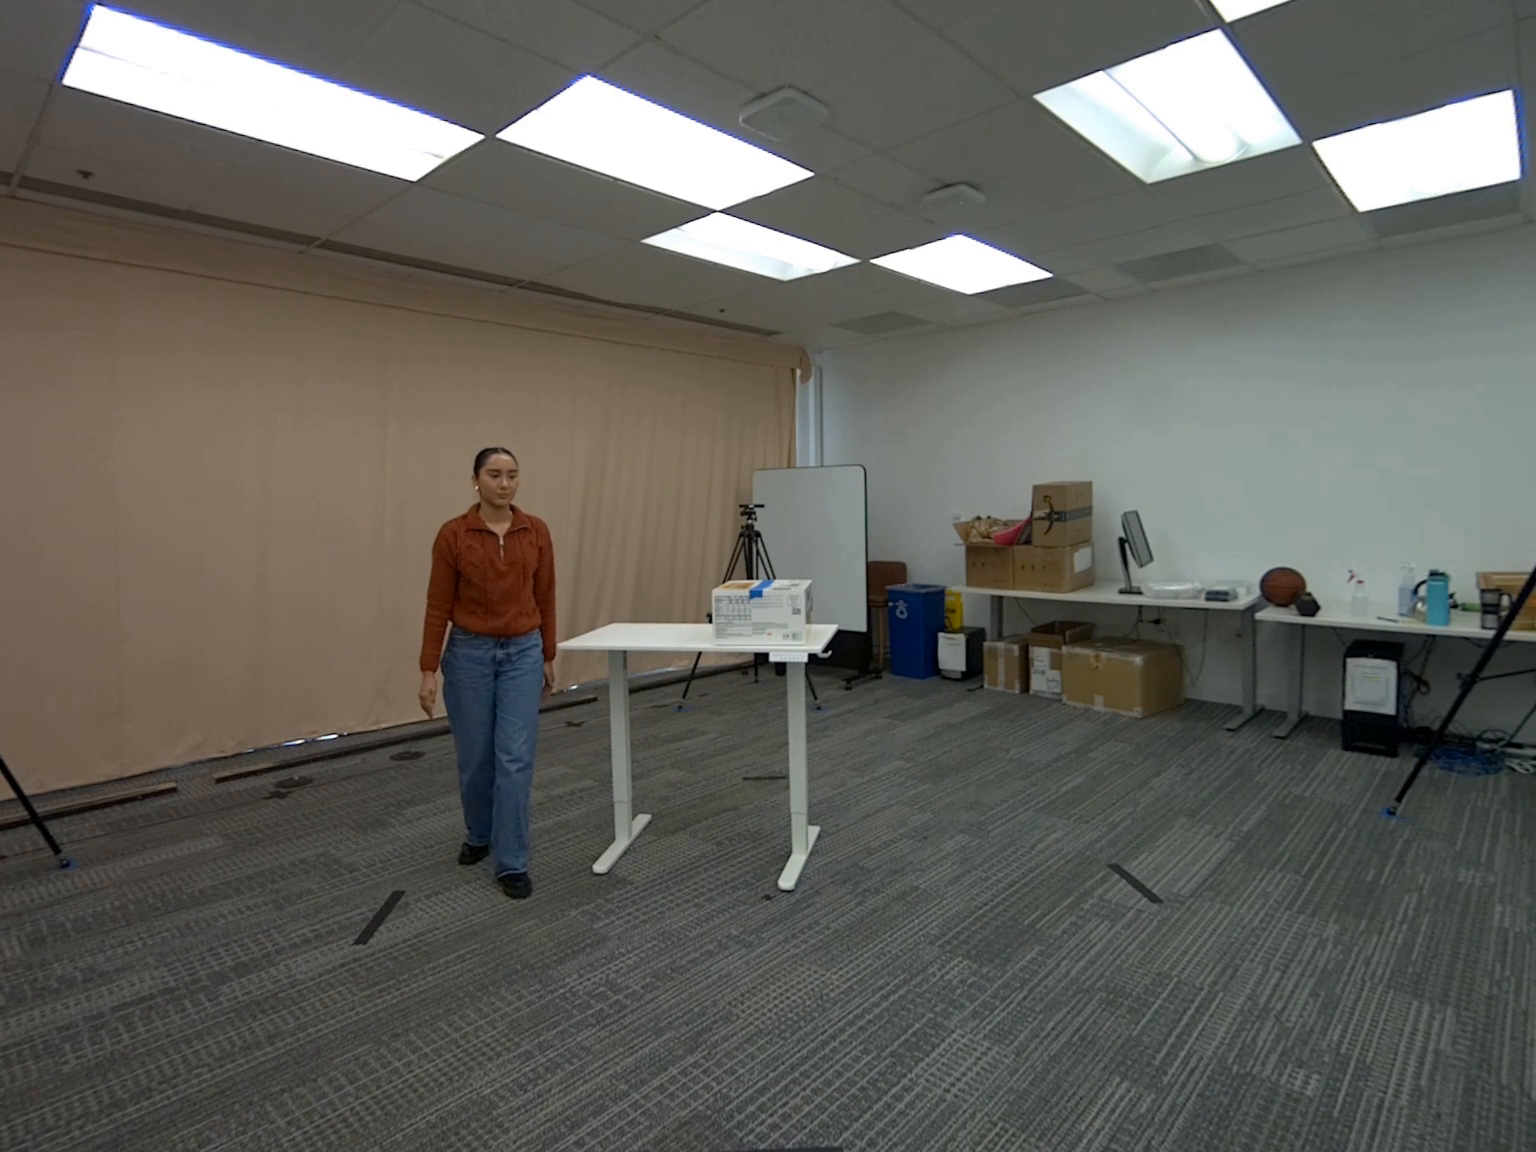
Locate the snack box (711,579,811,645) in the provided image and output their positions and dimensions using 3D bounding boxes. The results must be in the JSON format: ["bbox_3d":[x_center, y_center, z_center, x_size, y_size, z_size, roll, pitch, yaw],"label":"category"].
[{"bbox_3d":[-0.011,0.136,3.224,0.344,0.205,0.402,-1,4,9],"label":"snack box"}]
